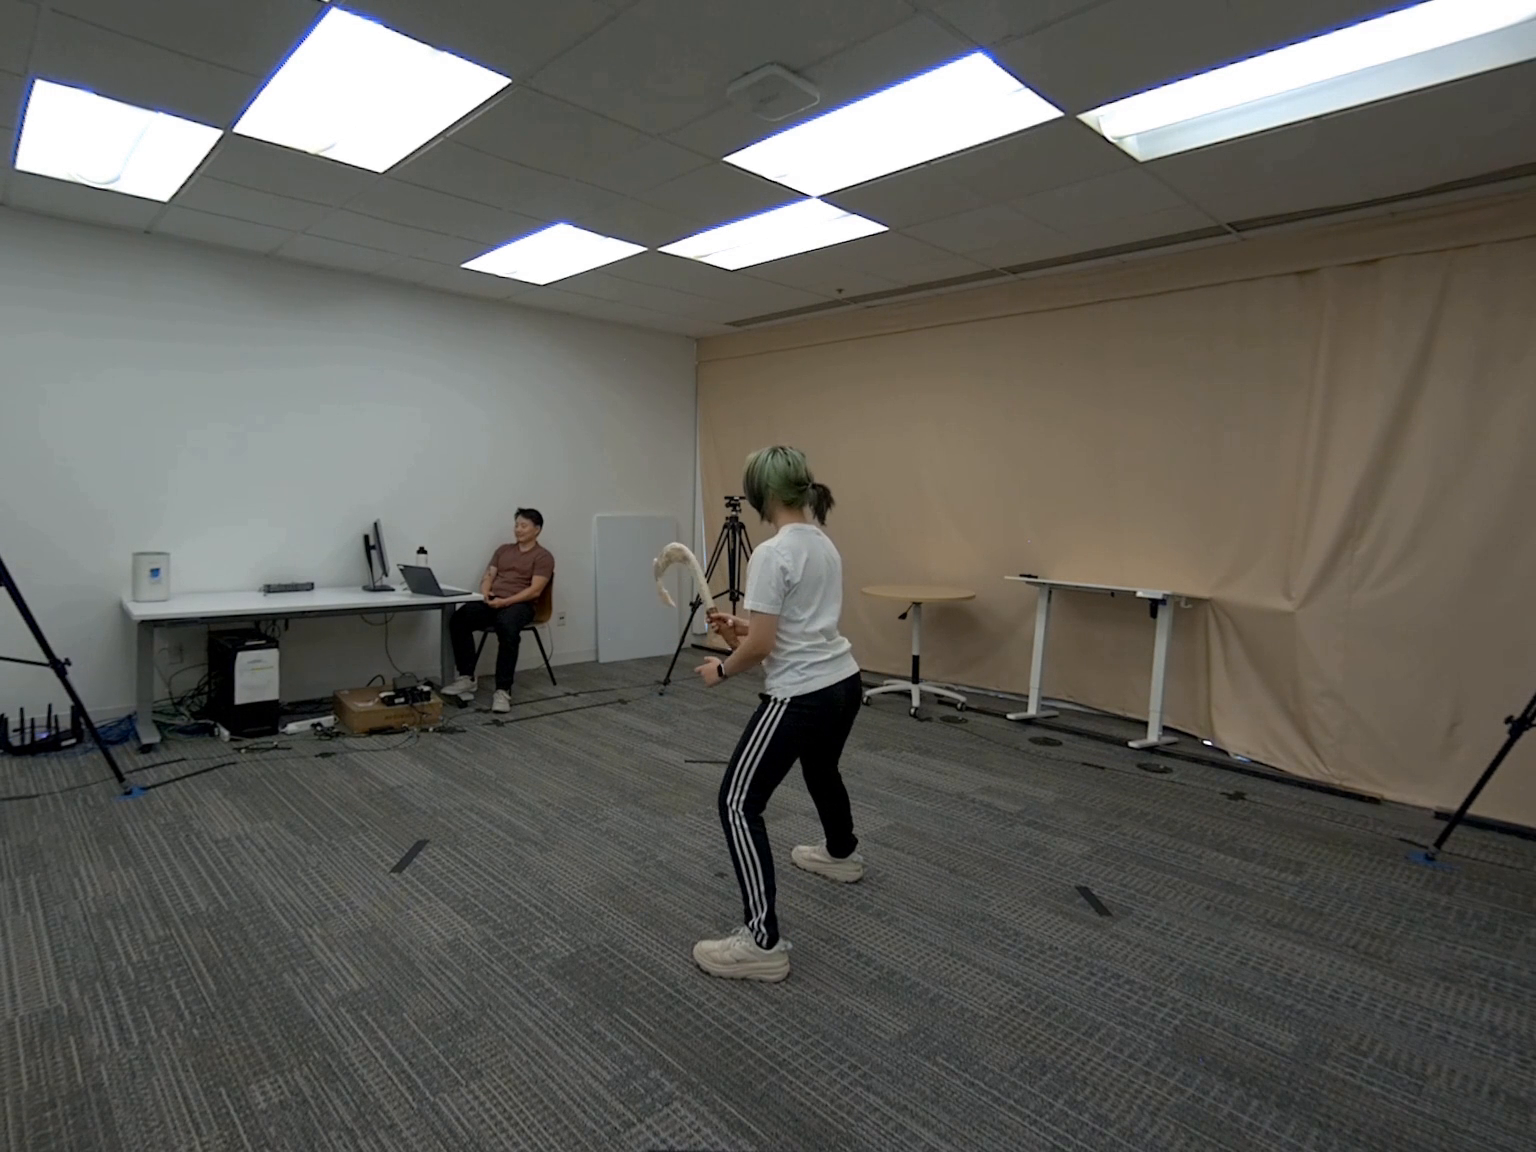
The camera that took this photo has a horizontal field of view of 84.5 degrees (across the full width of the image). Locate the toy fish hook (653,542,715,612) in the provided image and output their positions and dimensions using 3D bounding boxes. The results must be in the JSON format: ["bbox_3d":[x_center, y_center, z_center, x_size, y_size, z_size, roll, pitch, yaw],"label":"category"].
[{"bbox_3d":[-0.268,0.115,3.038,0.047,0.518,0.224,-8,-34,-48],"label":"toy fish hook"}]
